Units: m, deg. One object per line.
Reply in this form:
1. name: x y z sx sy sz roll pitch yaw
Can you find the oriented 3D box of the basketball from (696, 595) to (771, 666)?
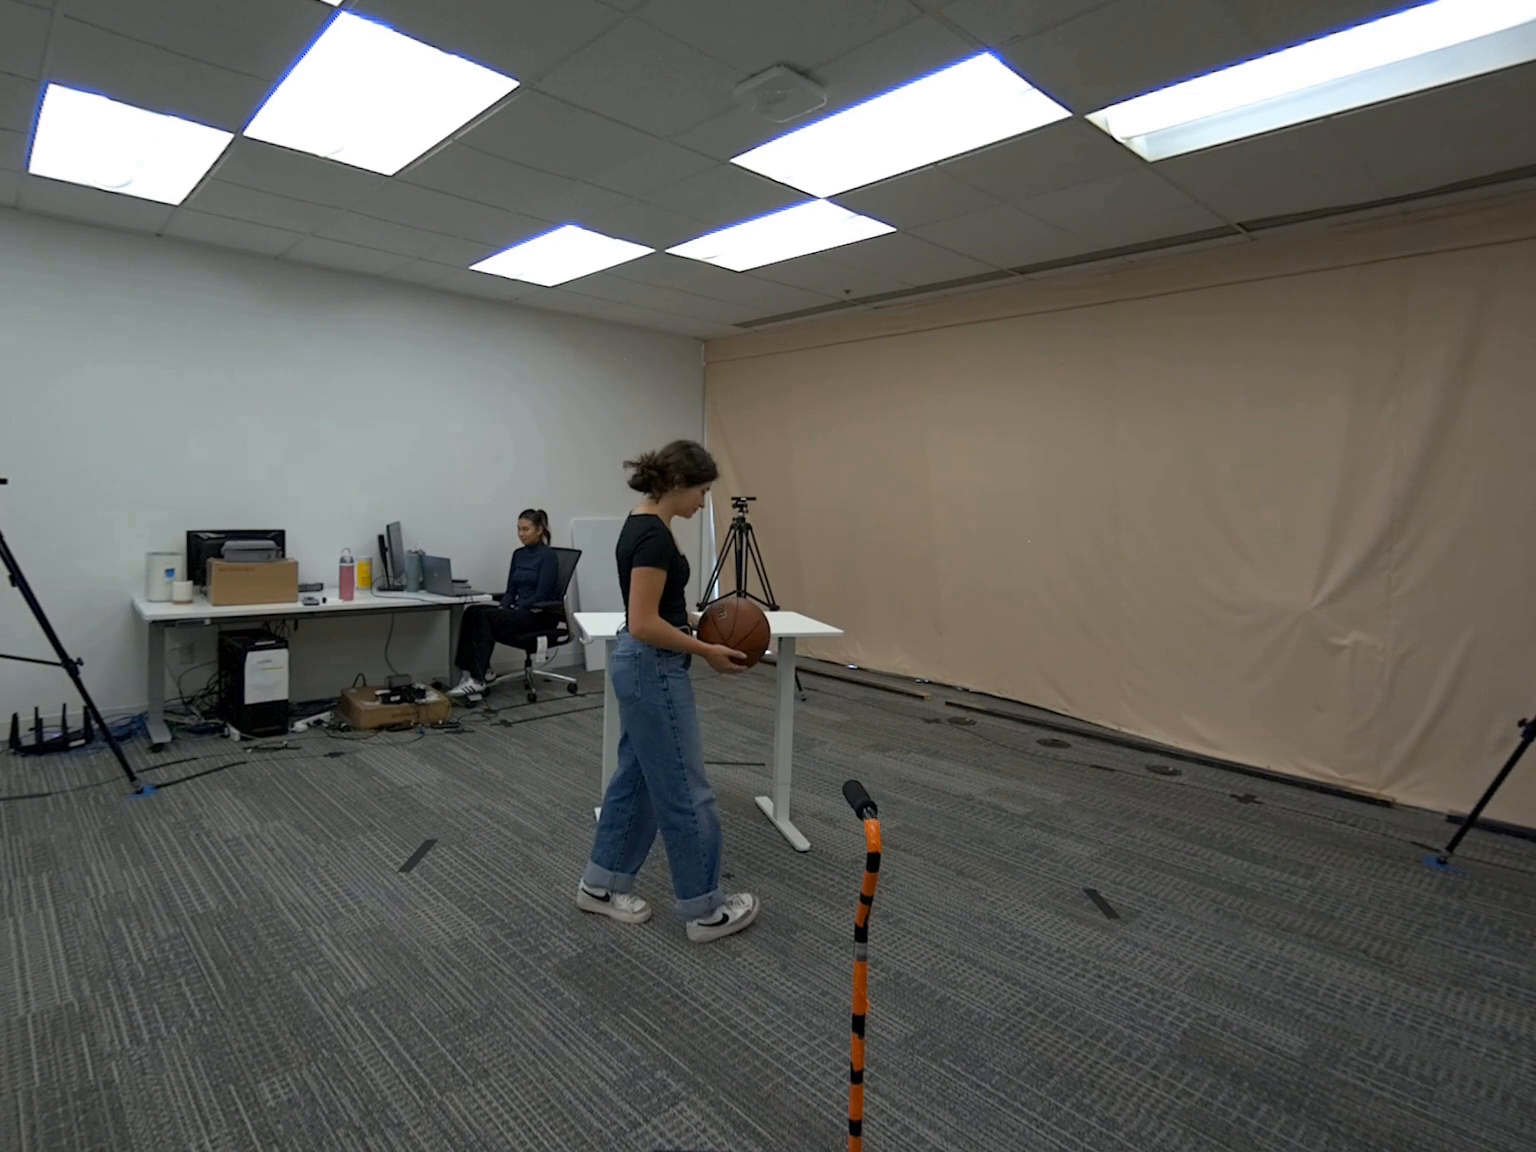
1. basketball: -0.120 0.187 2.691 0.236 0.235 0.237 1 4 -1
